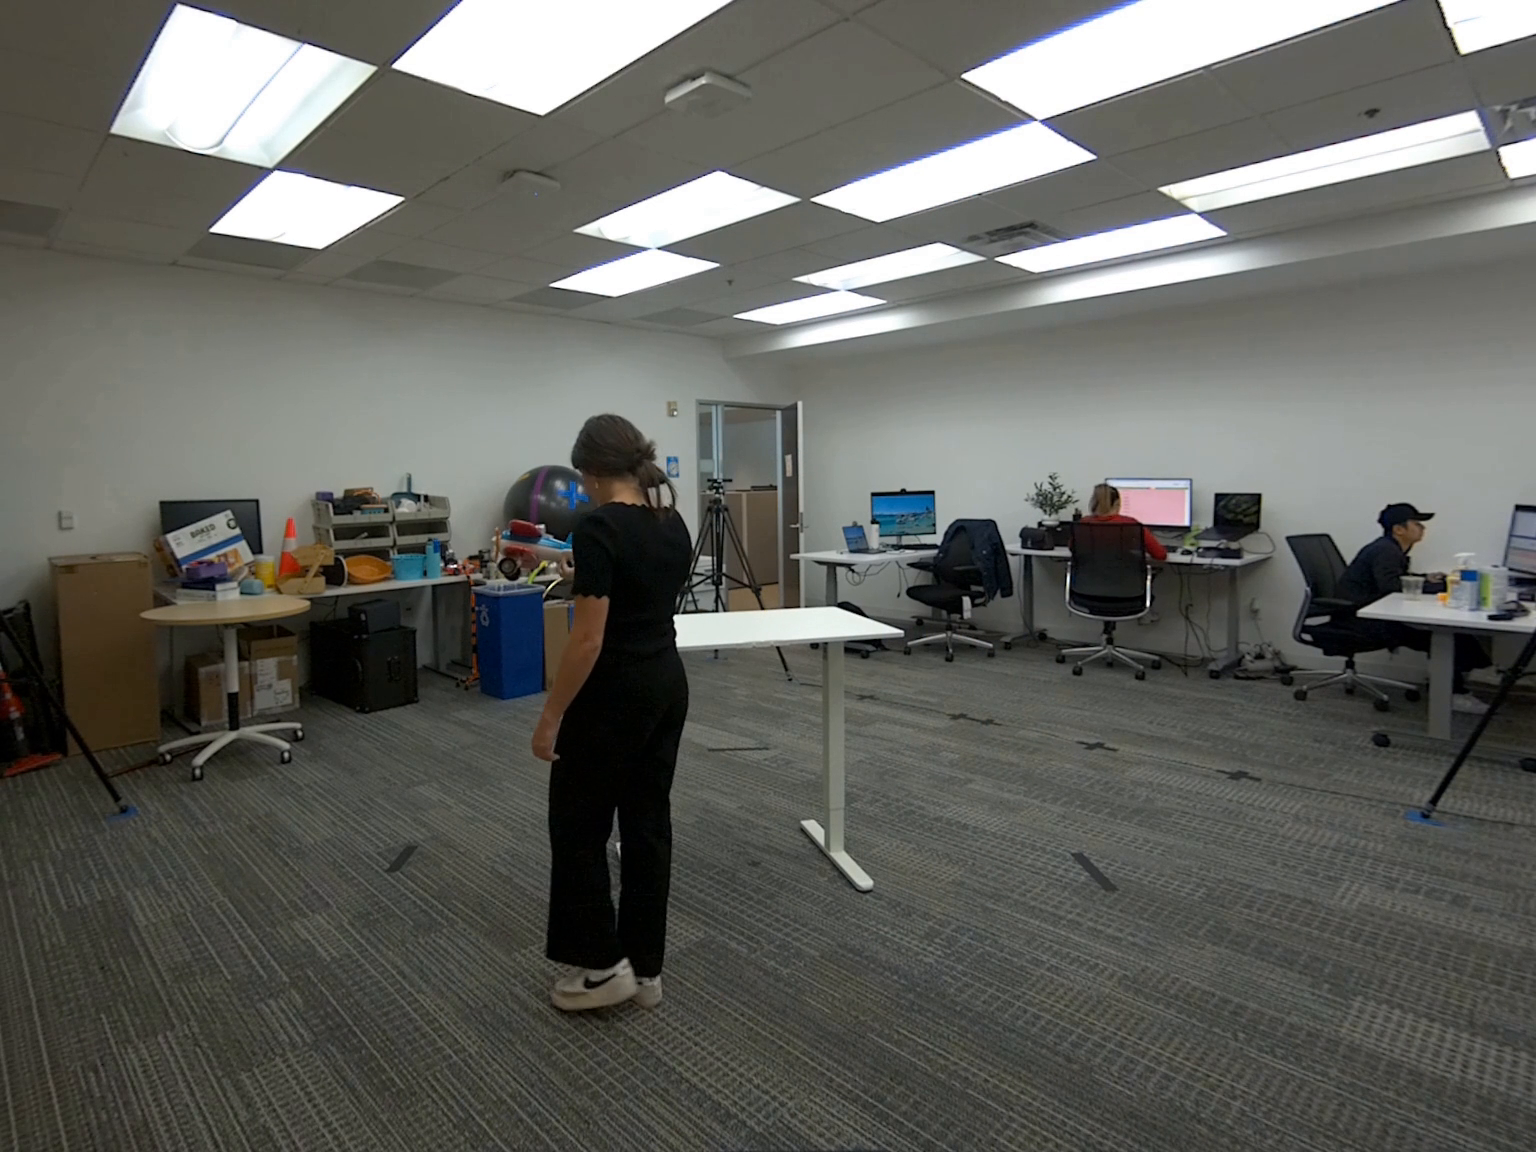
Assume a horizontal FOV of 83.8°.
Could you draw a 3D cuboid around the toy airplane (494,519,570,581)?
[{"bbox_3d":[-0.712,-0.071,2.637,0.252,0.158,0.254,1,-14,-32],"label":"toy airplane"}]
